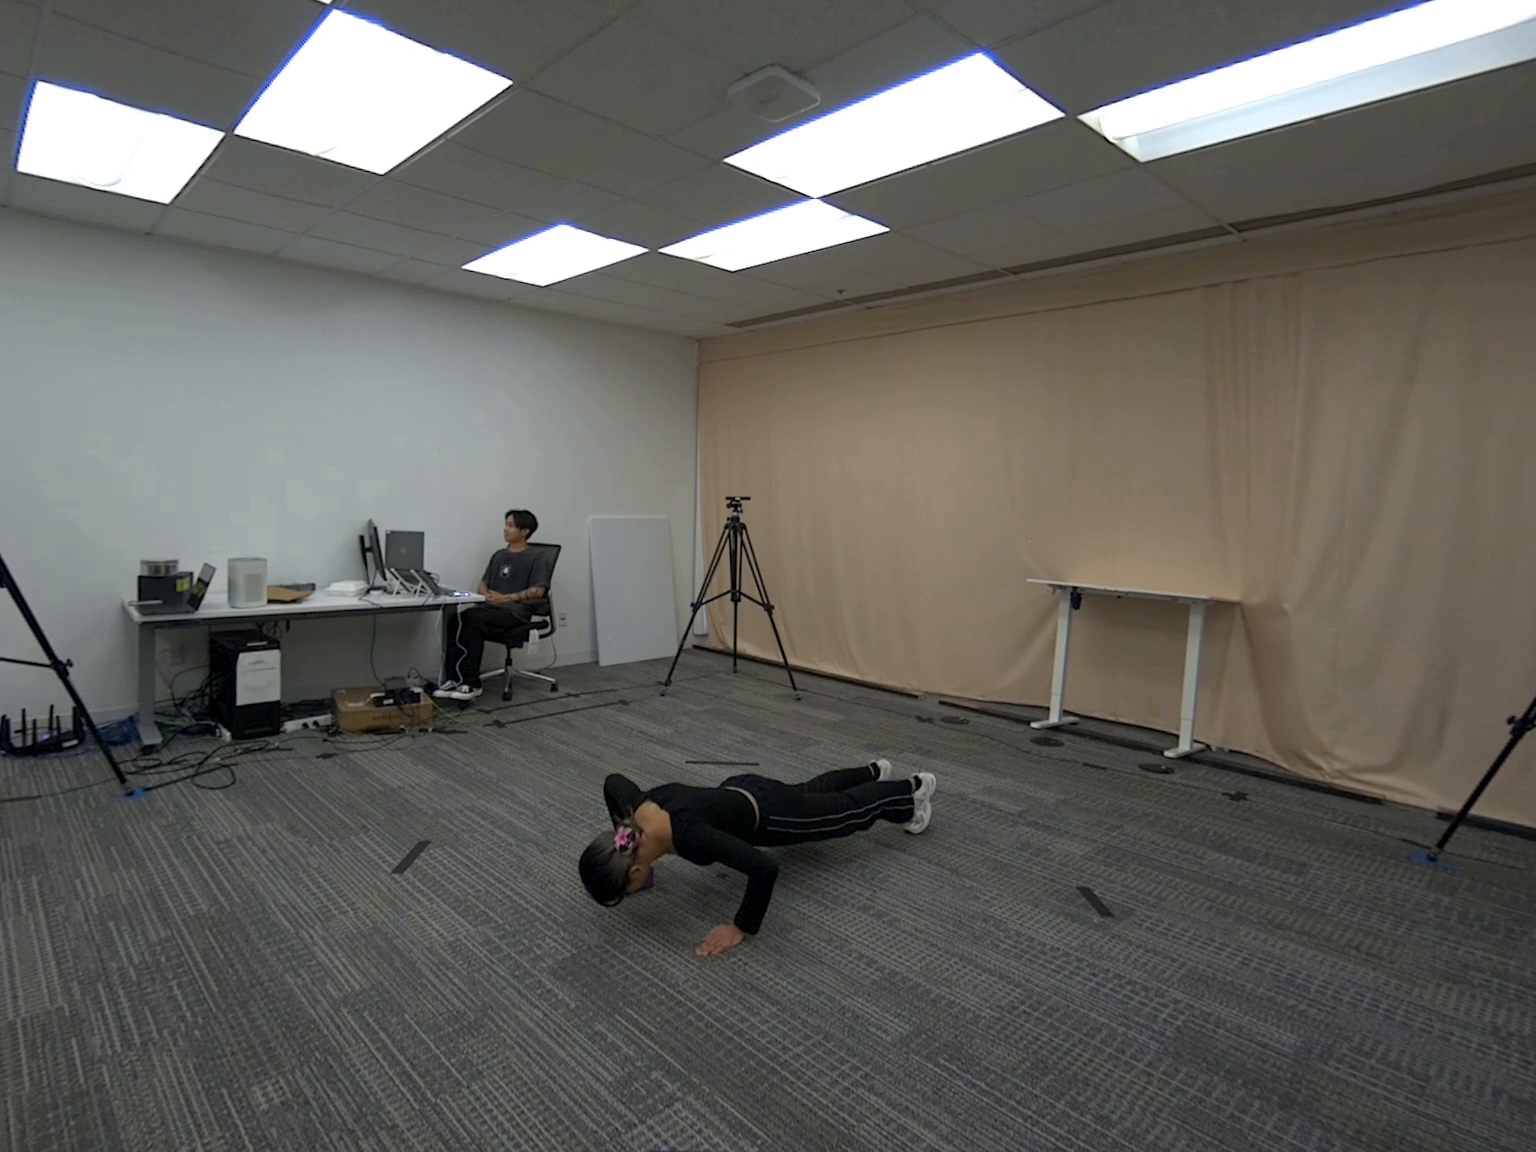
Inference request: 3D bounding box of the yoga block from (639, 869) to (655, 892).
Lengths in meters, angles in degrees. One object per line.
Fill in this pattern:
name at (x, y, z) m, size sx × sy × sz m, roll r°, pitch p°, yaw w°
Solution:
yoga block at (-0.528, 1.062, 3.055) m, size 0.146 × 0.076 × 0.235 m, roll -4°, pitch 7°, yaw -39°
